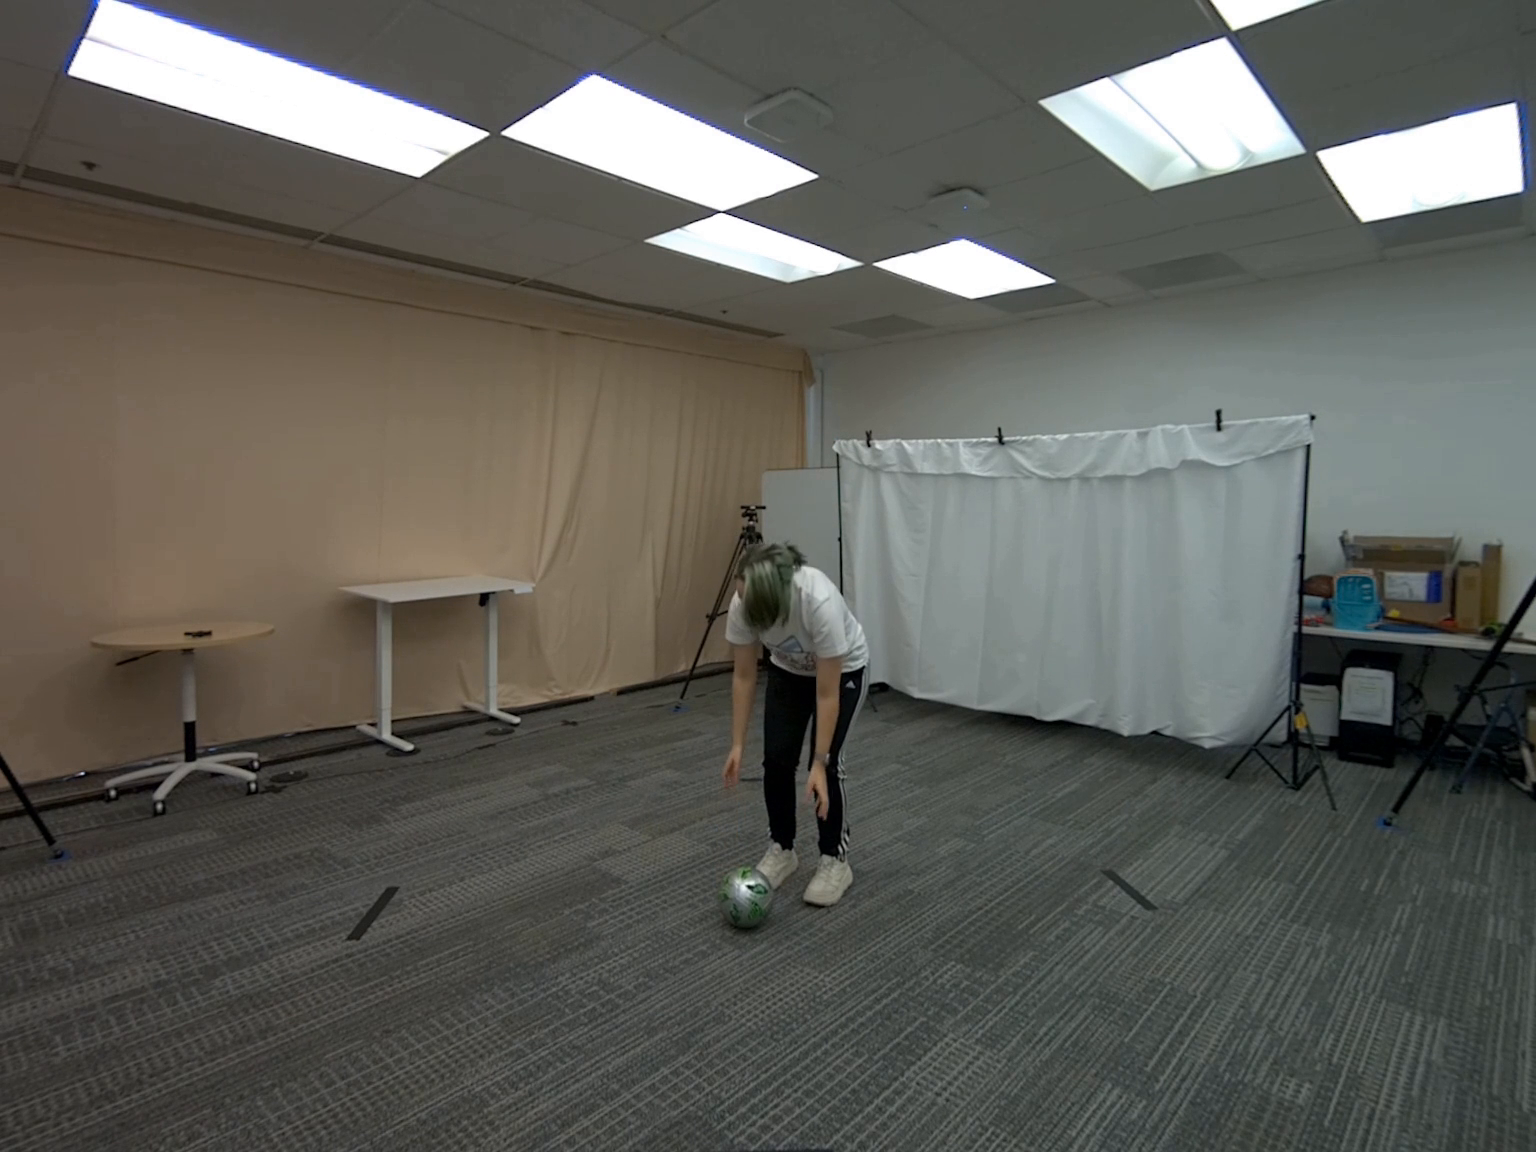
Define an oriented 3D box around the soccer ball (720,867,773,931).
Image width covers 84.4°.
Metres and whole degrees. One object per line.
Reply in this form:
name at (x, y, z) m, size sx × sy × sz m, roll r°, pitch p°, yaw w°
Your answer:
soccer ball at (-0.067, 1.064, 2.787) m, size 0.187 × 0.187 × 0.188 m, roll 0°, pitch 4°, yaw -2°
